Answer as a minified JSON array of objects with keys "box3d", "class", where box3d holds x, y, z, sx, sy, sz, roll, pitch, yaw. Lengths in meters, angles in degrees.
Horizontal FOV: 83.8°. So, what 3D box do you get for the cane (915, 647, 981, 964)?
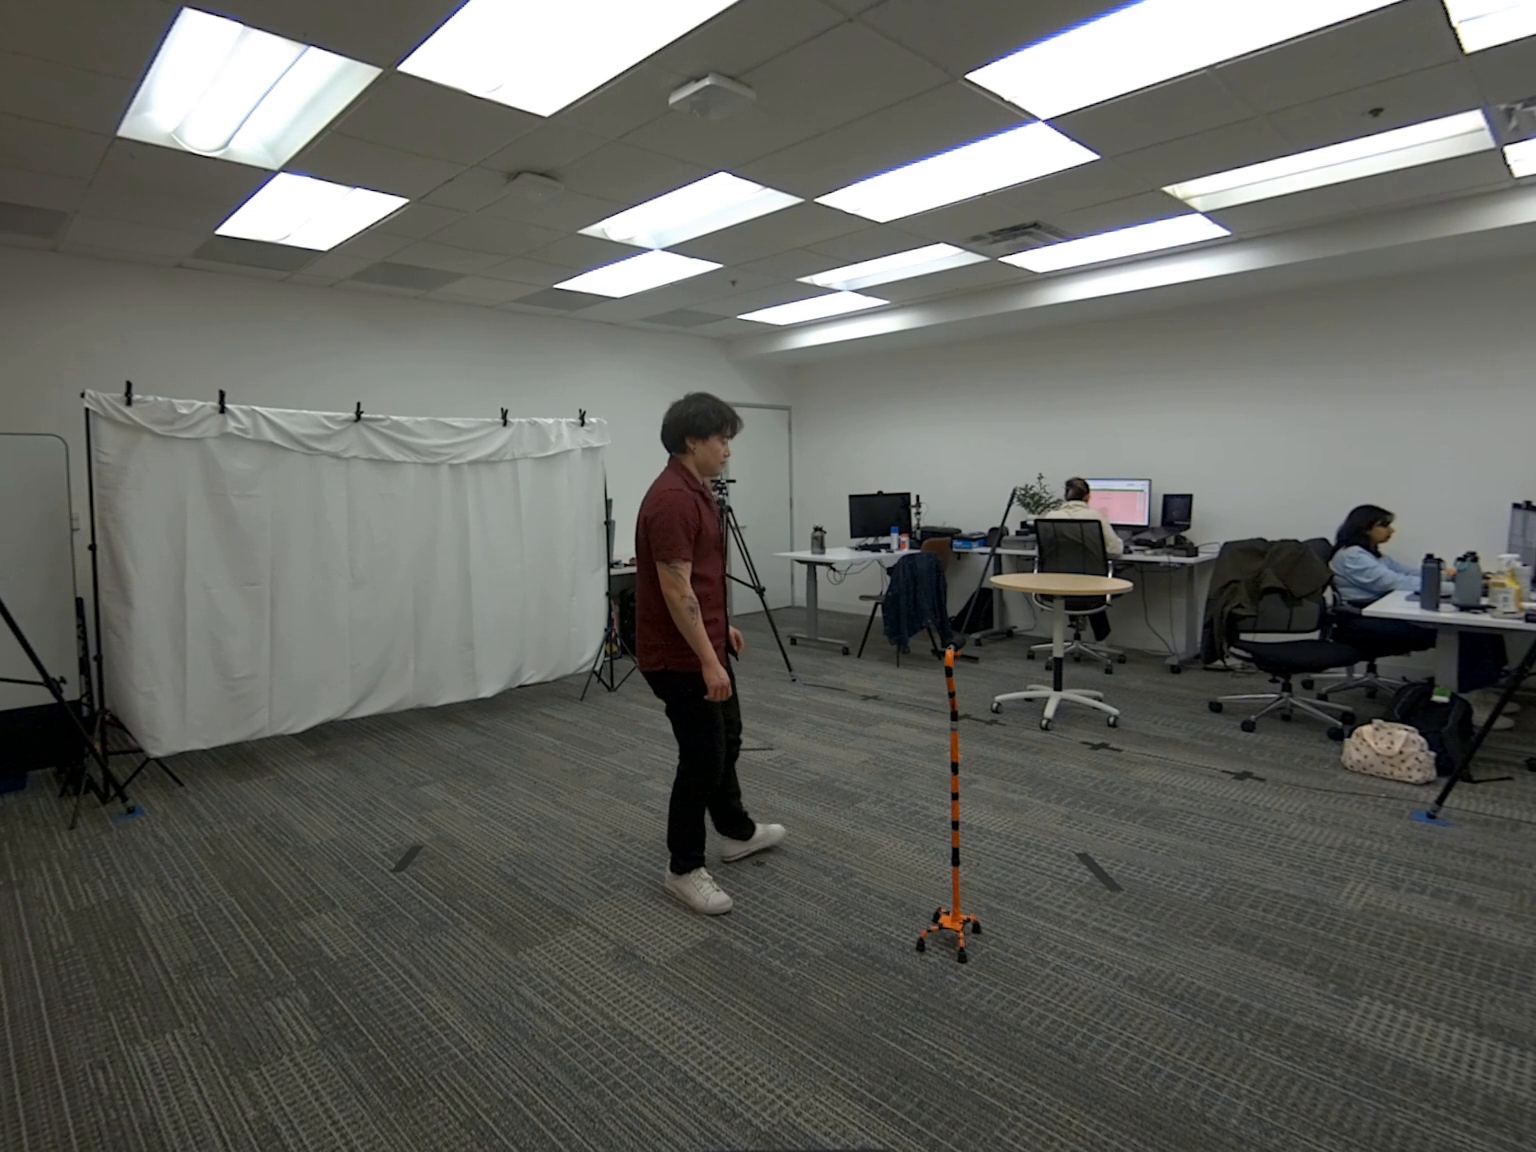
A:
[{"box3d":[0.546,0.654,2.535,0.155,0.904,0.202,2,5,24],"class":"cane"}]
